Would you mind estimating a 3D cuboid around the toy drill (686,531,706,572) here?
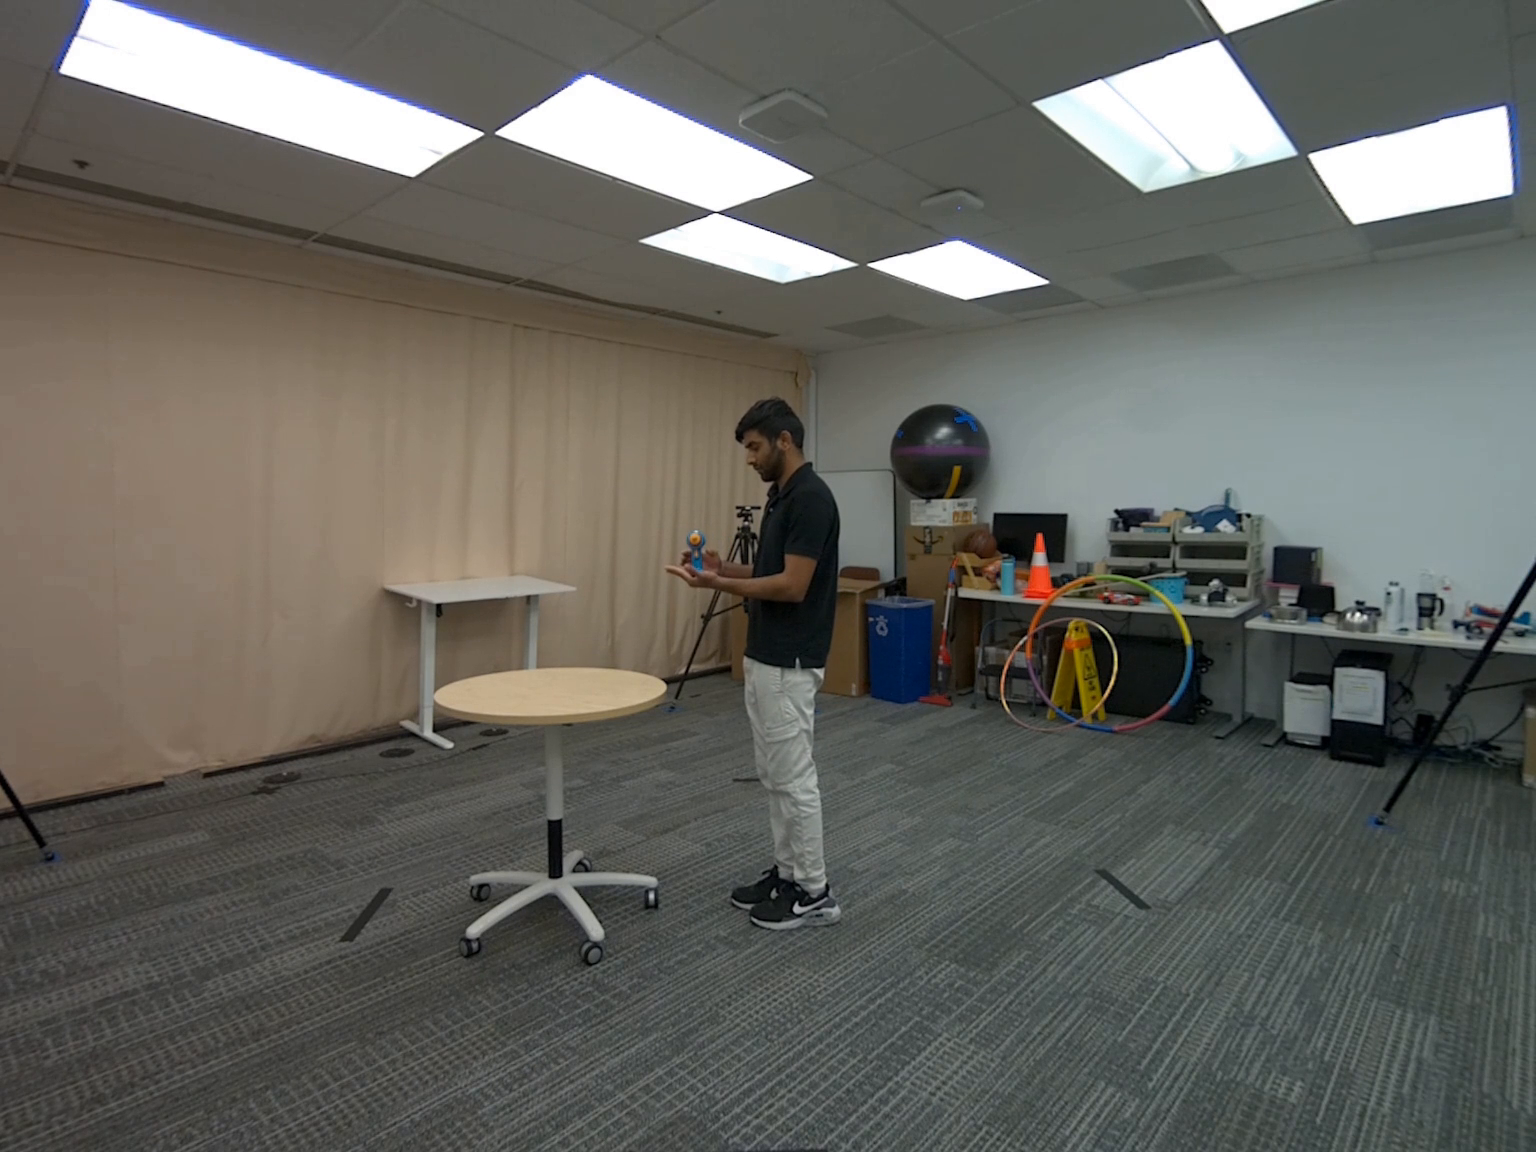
[{"bbox_3d":[-0.235,-0.075,2.721,0.061,0.146,0.169,-3,-4,-3],"label":"toy drill"}]
